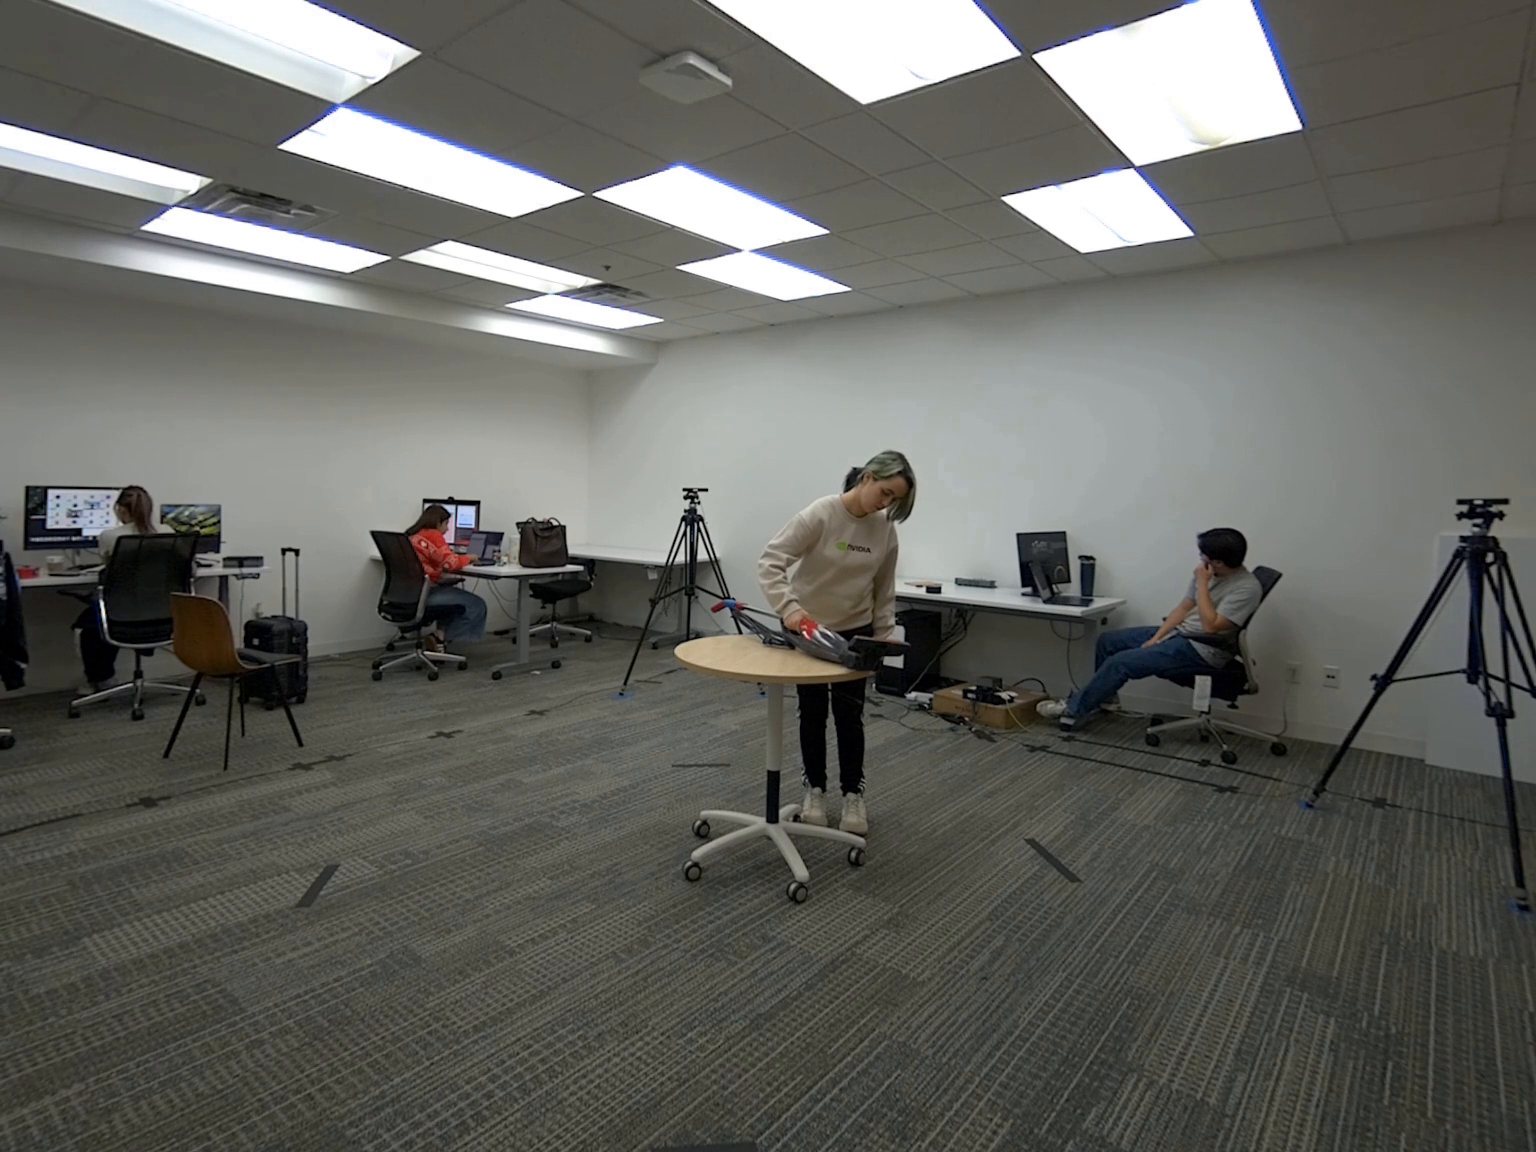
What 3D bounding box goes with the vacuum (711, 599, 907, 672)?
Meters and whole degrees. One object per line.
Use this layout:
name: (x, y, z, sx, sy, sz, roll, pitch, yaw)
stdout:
vacuum: (0.055, 0.223, 3.316, 0.245, 0.144, 1.083, 5, 3, -32)
